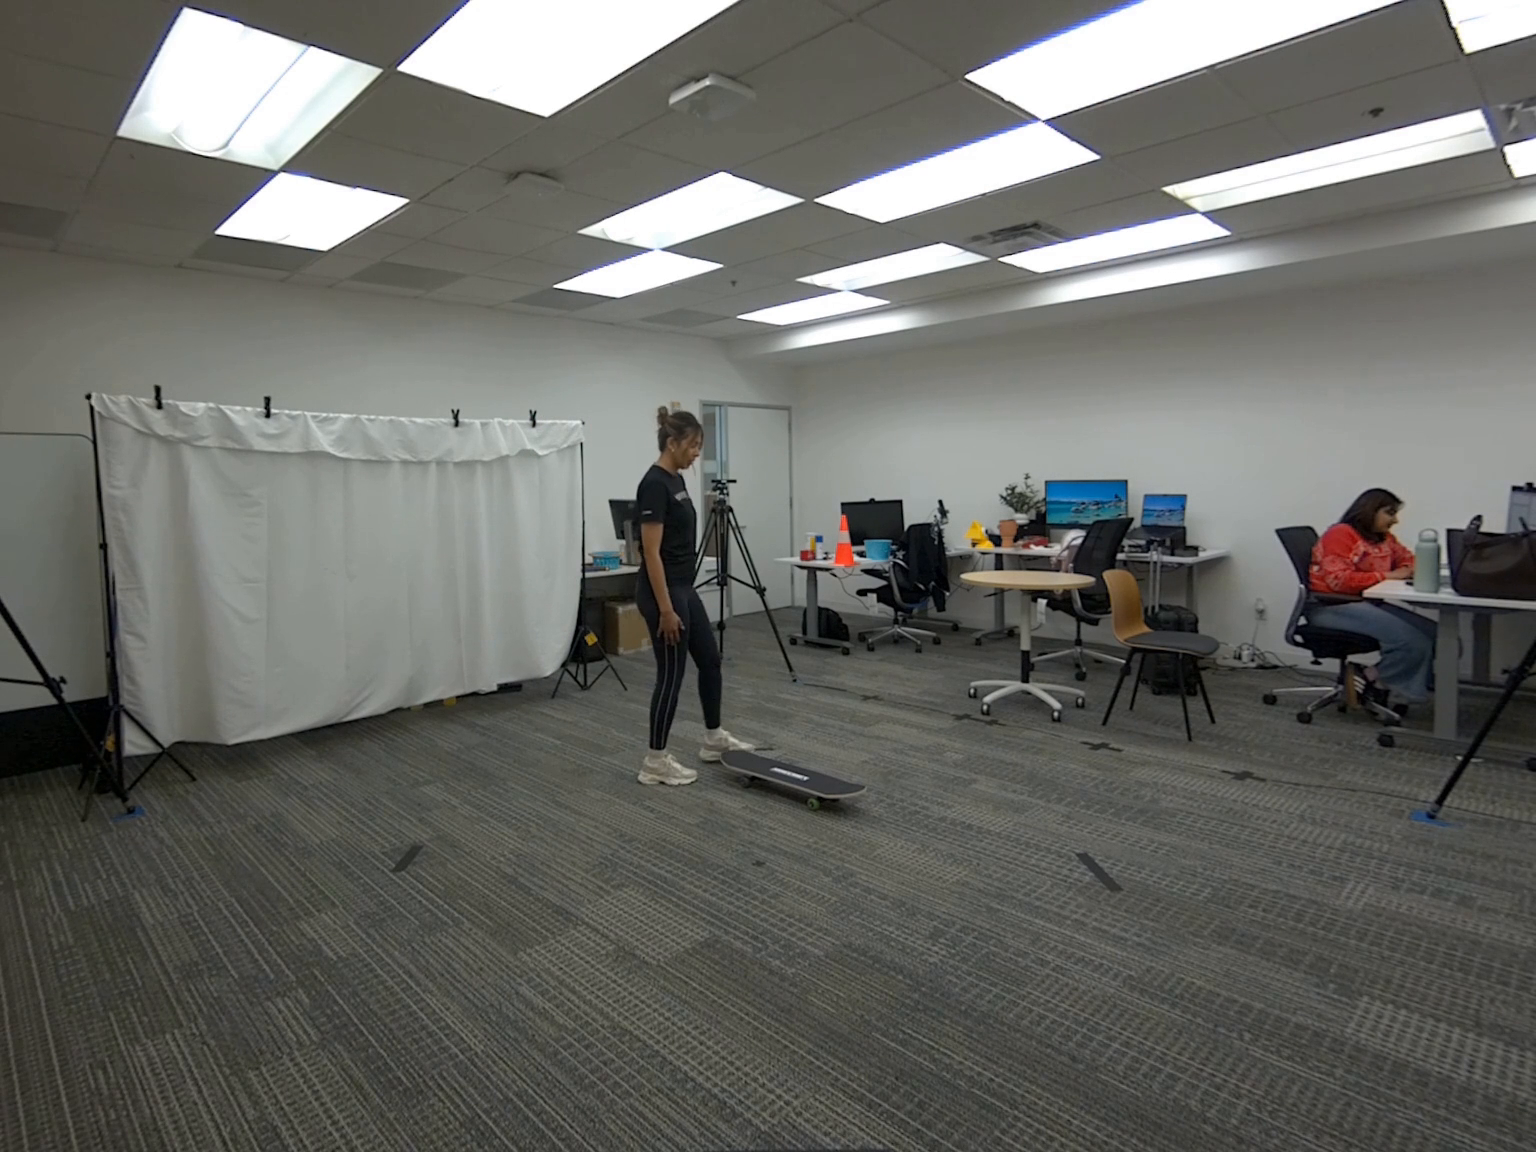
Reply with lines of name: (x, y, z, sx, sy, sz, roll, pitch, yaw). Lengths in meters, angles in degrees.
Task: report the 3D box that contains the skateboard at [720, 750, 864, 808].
skateboard: (0.102, 0.915, 3.796, 0.810, 0.110, 0.188, 4, 9, 43)
